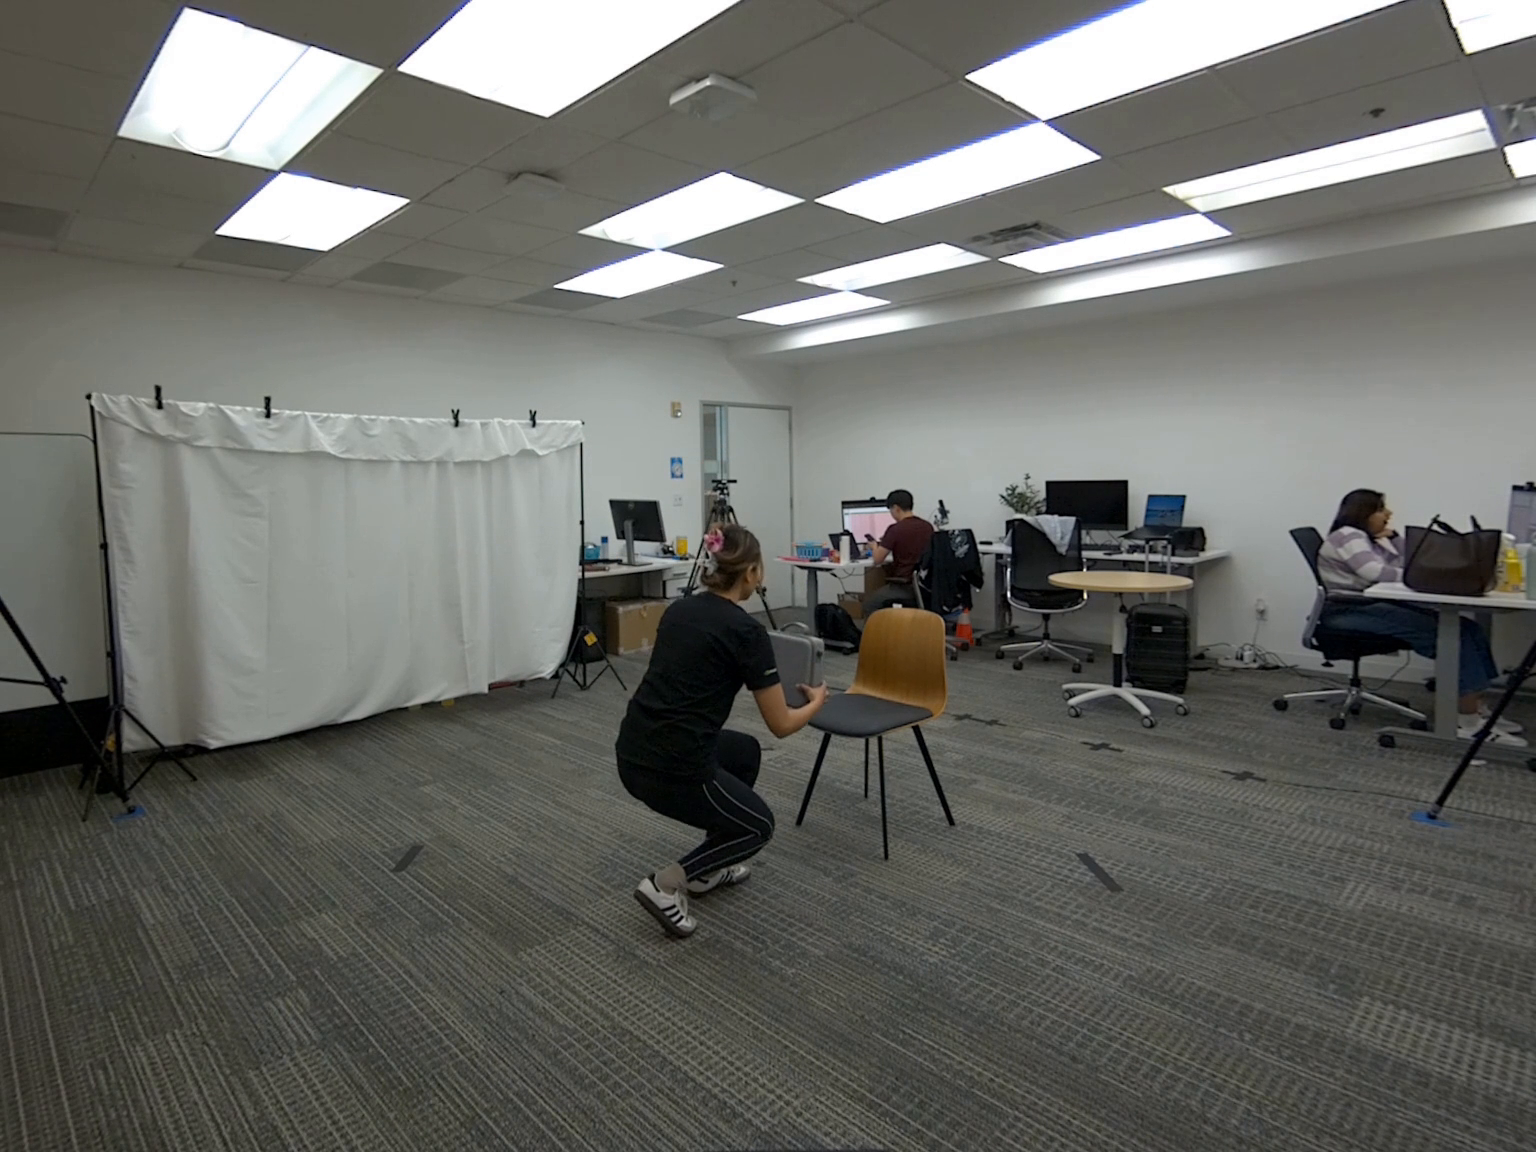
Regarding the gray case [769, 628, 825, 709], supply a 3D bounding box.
[{"bbox_3d":[0.070,0.322,3.060,0.101,0.260,0.265,3,3,-44],"label":"gray case"}]
